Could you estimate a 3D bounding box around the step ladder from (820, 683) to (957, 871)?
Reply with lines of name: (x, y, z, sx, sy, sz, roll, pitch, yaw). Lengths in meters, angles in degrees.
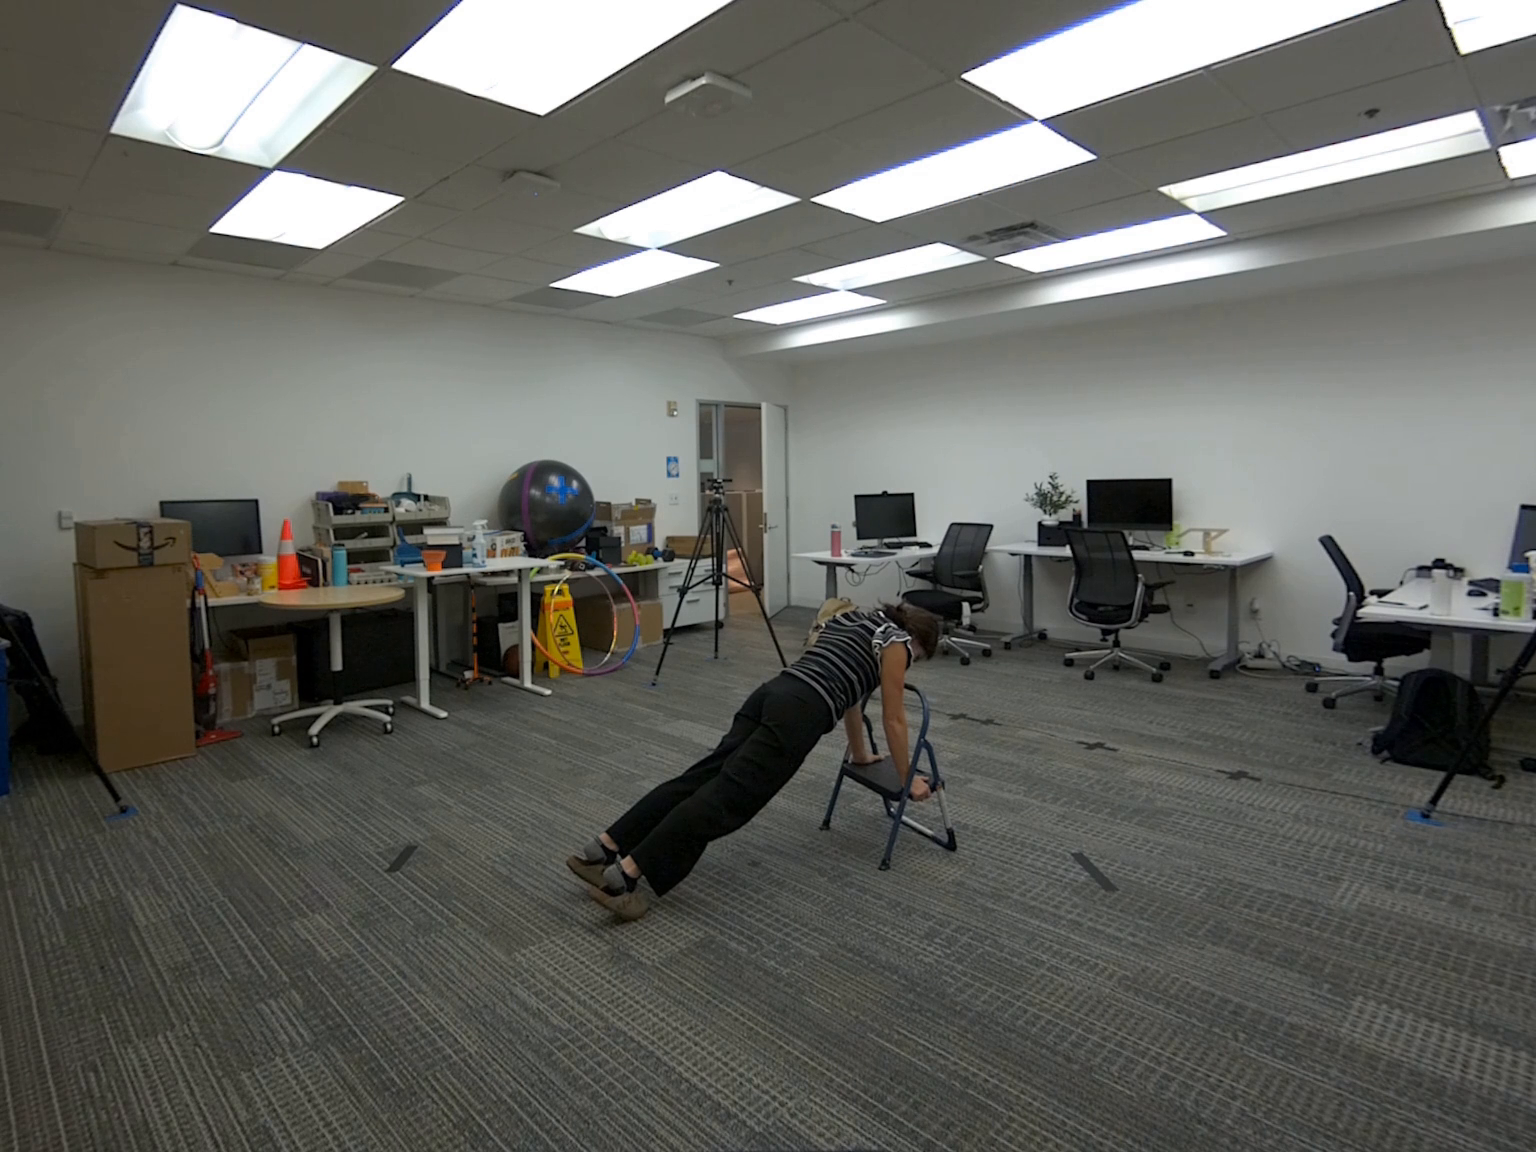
step ladder: (0.457, 0.716, 3.279, 0.341, 0.604, 0.442, -2, 5, -28)
